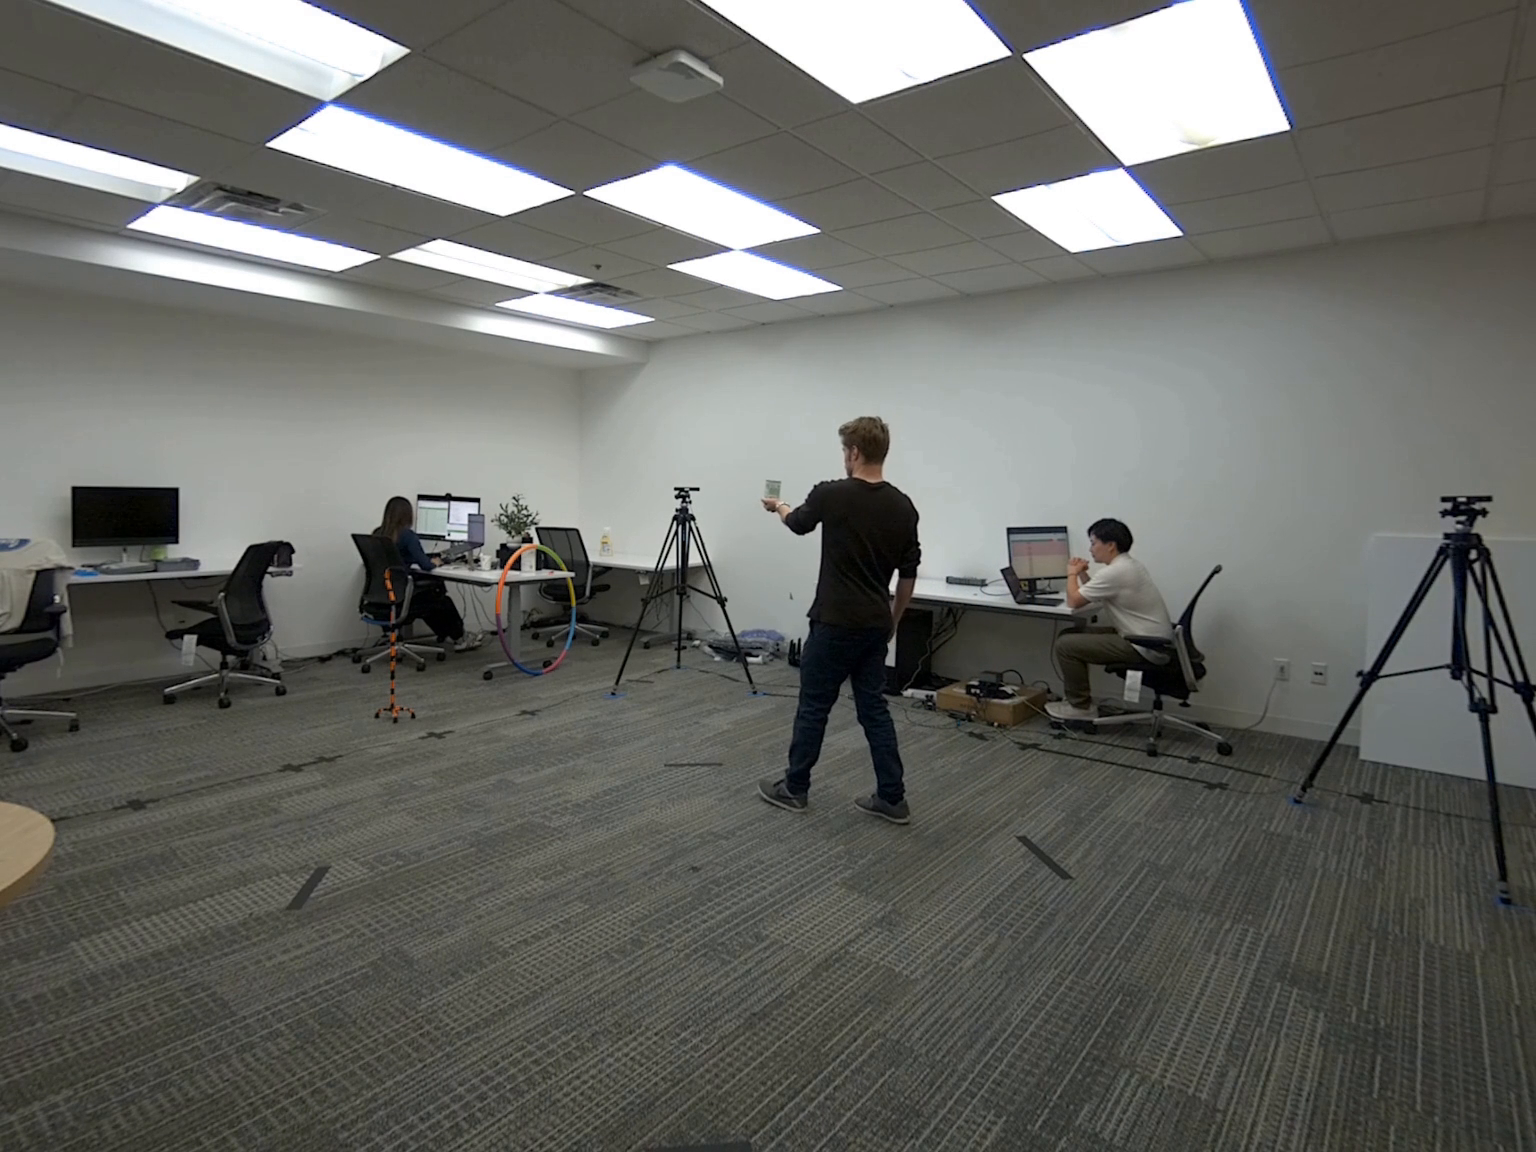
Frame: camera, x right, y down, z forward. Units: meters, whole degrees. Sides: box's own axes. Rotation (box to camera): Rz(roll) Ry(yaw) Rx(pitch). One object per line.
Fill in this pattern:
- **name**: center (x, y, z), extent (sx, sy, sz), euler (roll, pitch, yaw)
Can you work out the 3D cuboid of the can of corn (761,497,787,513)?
- **can of corn**: center (0.008, -0.410, 4.122), extent (0.074, 0.111, 0.074), euler (4, 4, -2)
